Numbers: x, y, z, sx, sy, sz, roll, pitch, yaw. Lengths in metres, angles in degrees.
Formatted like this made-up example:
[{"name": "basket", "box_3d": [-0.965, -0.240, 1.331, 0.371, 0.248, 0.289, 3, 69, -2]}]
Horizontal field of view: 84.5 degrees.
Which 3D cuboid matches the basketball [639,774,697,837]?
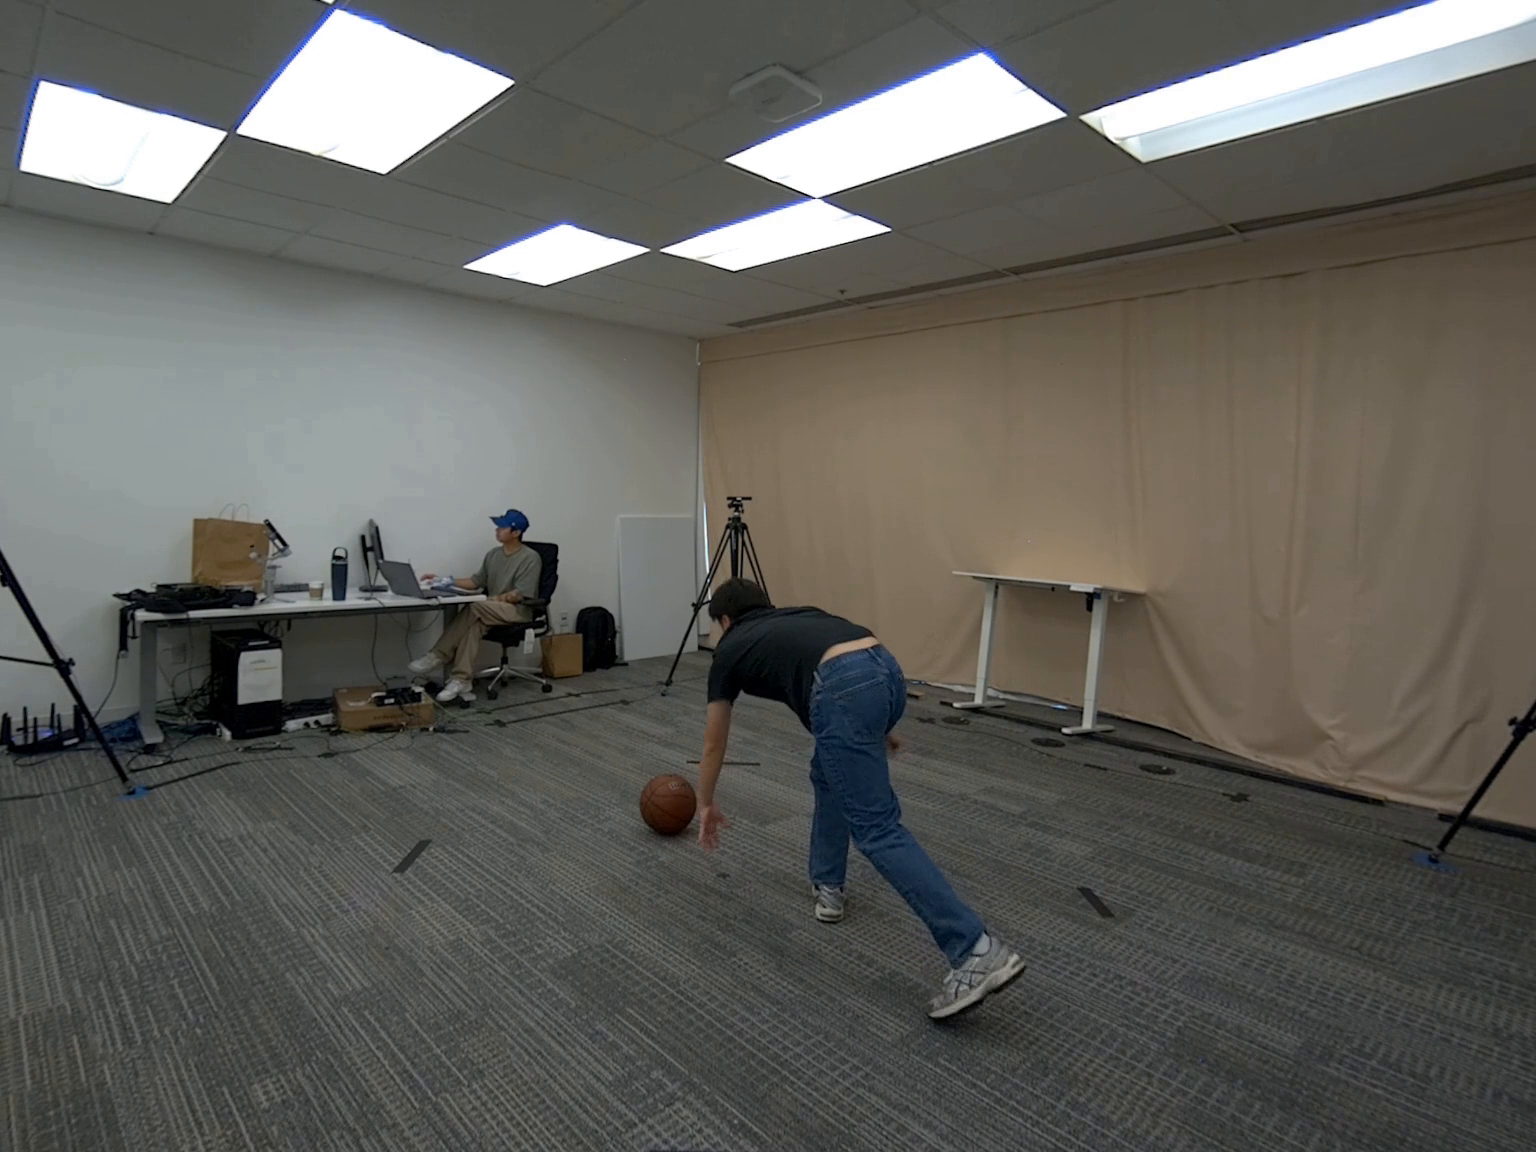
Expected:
[{"name": "basketball", "box_3d": [-0.417, 0.943, 3.500, 0.236, 0.235, 0.237, 1, 4, -1]}]
